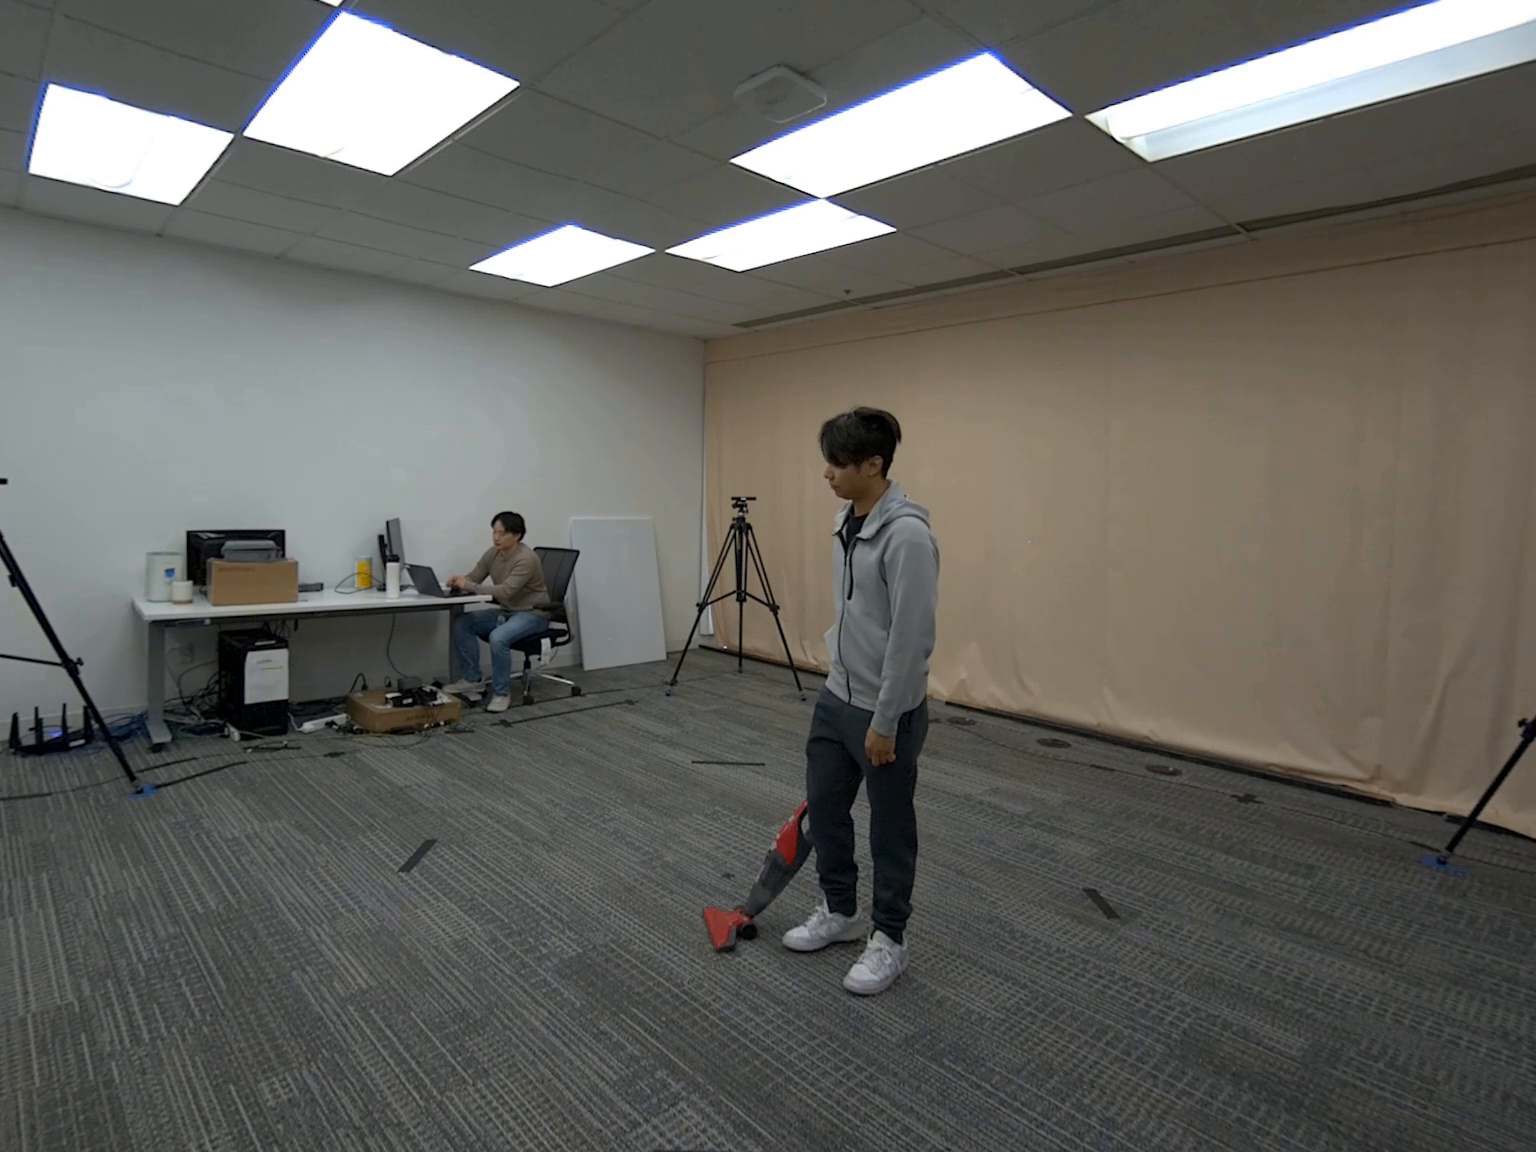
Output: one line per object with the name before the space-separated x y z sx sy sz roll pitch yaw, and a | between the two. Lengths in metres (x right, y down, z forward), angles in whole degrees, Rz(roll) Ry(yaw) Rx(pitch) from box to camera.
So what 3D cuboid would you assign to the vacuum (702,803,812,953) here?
vacuum | 0.175 0.738 2.758 0.142 1.050 0.255 41 -7 -12
